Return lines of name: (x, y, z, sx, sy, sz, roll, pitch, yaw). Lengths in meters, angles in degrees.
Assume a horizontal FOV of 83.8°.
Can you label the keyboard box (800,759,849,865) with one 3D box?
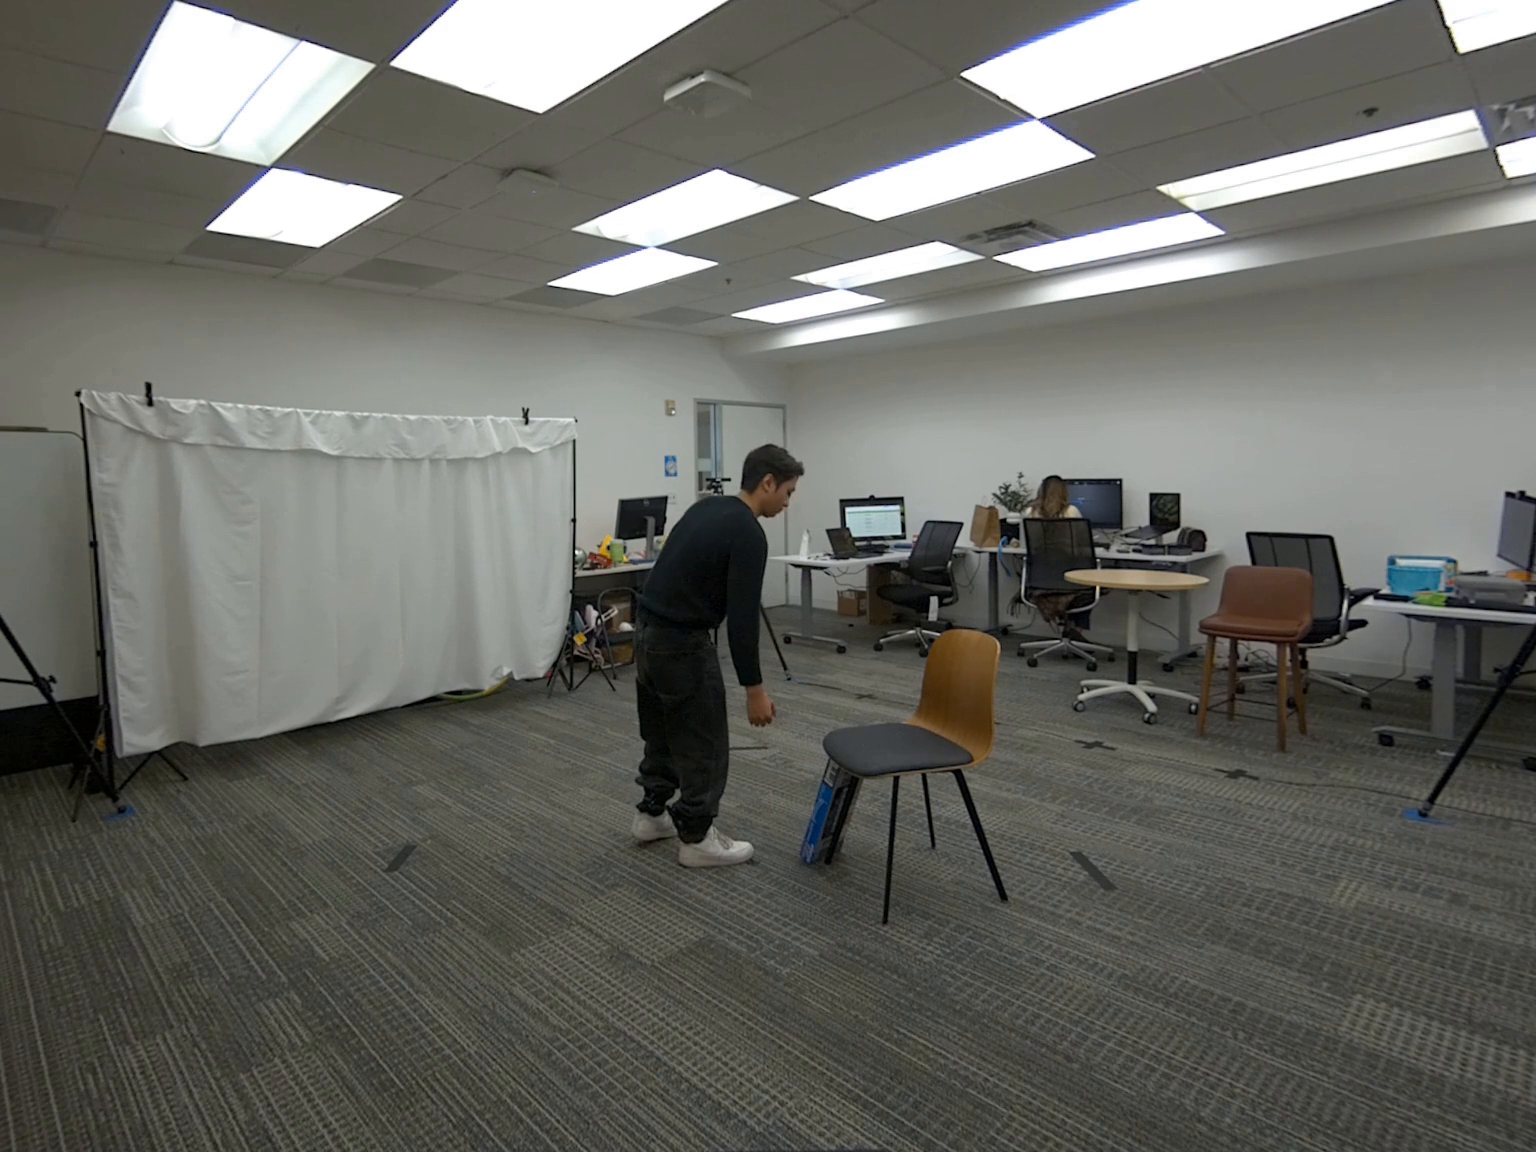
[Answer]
keyboard box: (0.244, 0.821, 3.080, 0.171, 0.432, 0.061, -4, 26, -43)
